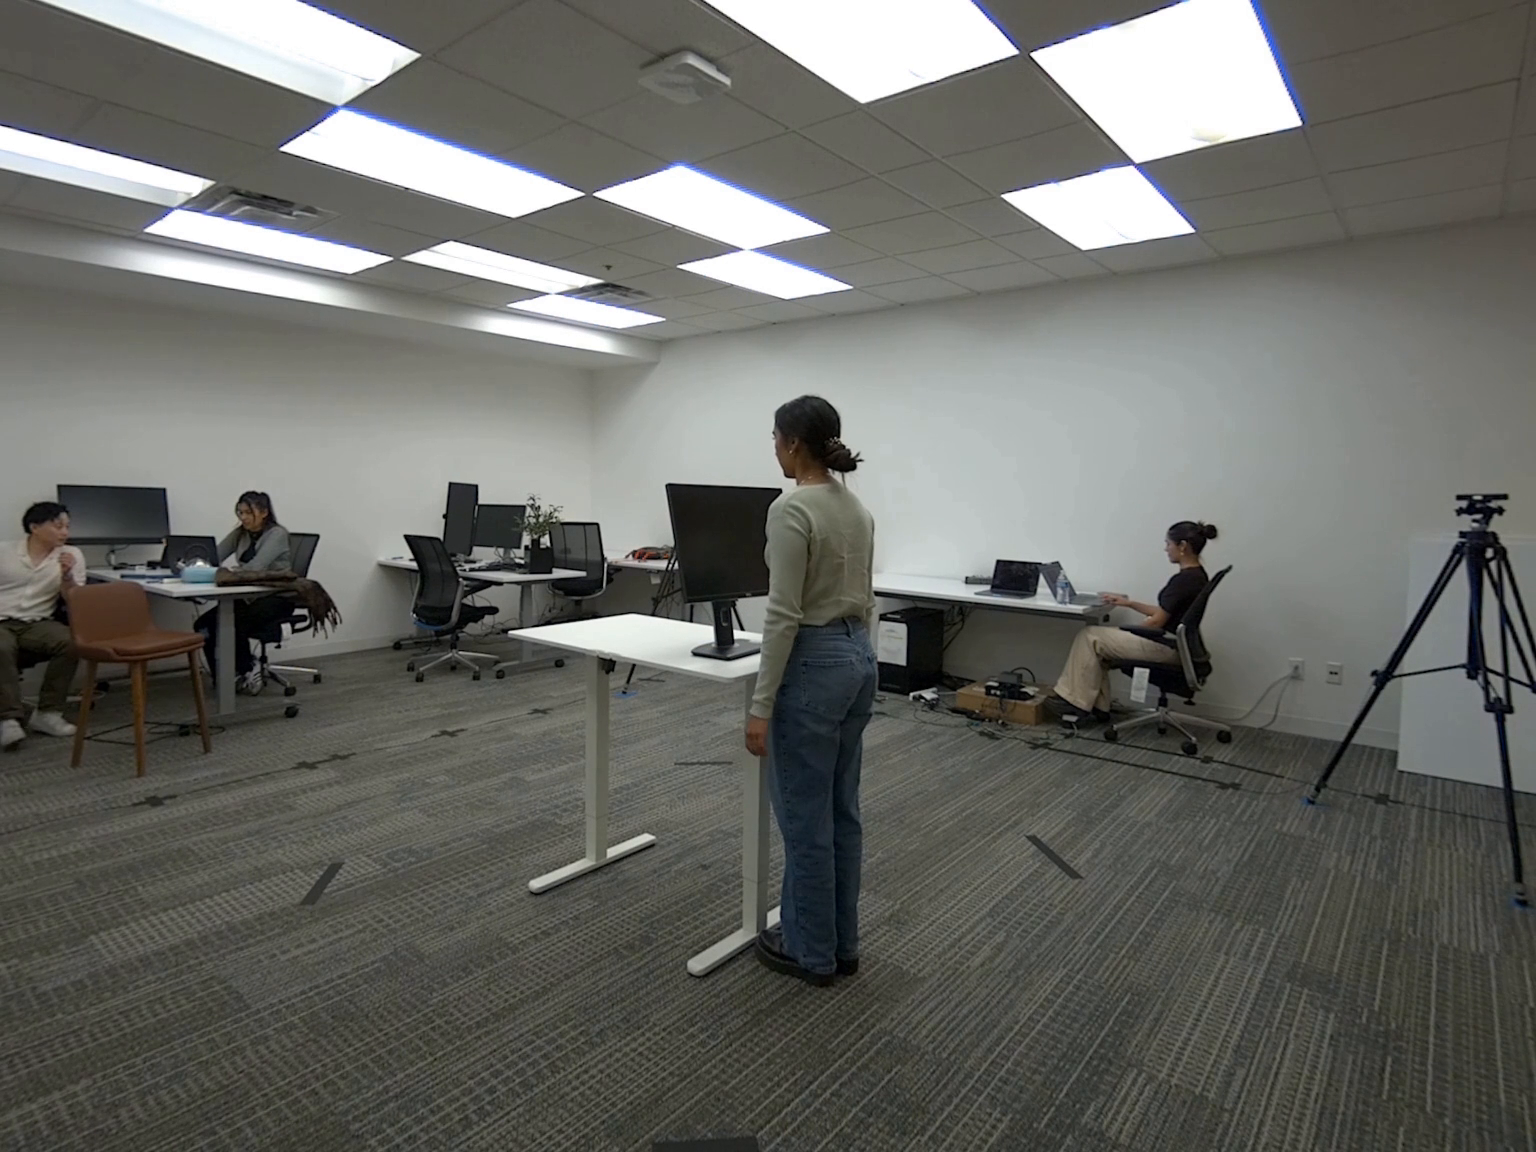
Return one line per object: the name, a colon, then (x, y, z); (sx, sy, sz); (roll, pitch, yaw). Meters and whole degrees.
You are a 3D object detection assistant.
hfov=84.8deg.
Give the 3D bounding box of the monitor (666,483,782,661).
monitor: (-0.122, -0.018, 2.647); (0.193, 0.522, 0.523); (0, 2, 39)
